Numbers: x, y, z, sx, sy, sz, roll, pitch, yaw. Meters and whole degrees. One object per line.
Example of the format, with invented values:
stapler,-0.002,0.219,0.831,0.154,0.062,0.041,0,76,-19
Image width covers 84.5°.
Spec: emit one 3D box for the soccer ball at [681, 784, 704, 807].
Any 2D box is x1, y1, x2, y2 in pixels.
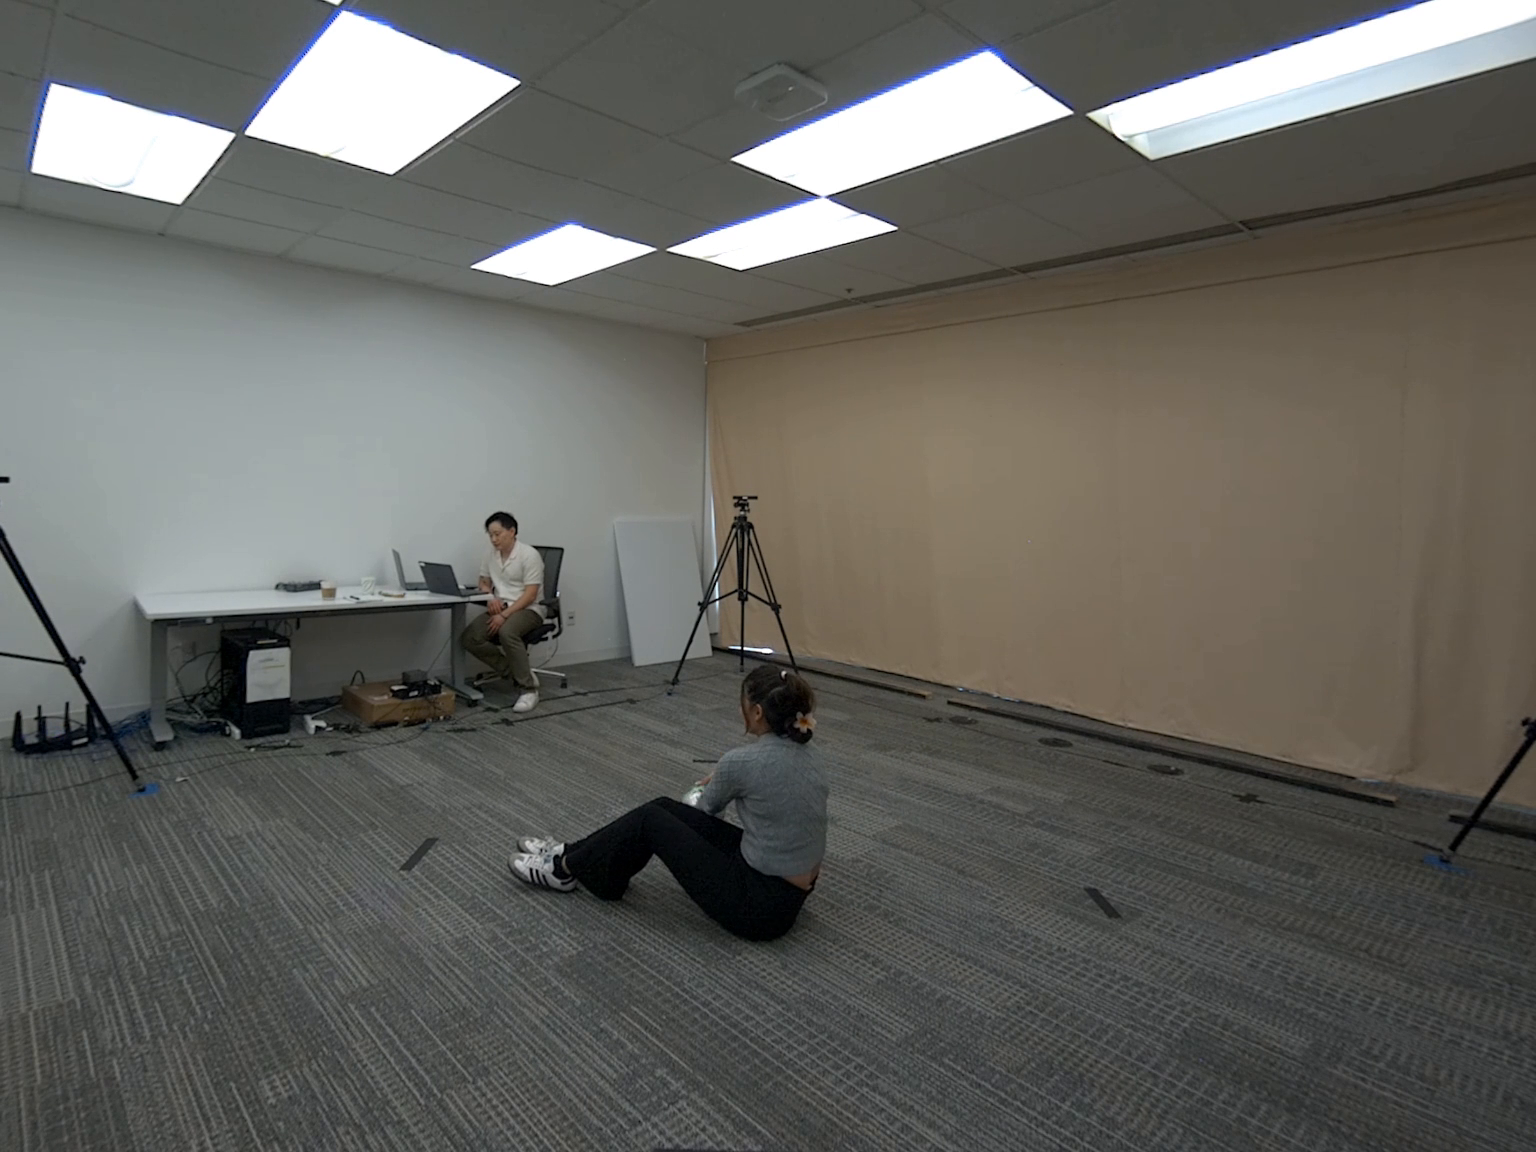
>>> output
soccer ball,-0.269,0.907,3.315,0.187,0.187,0.188,1,4,-1
